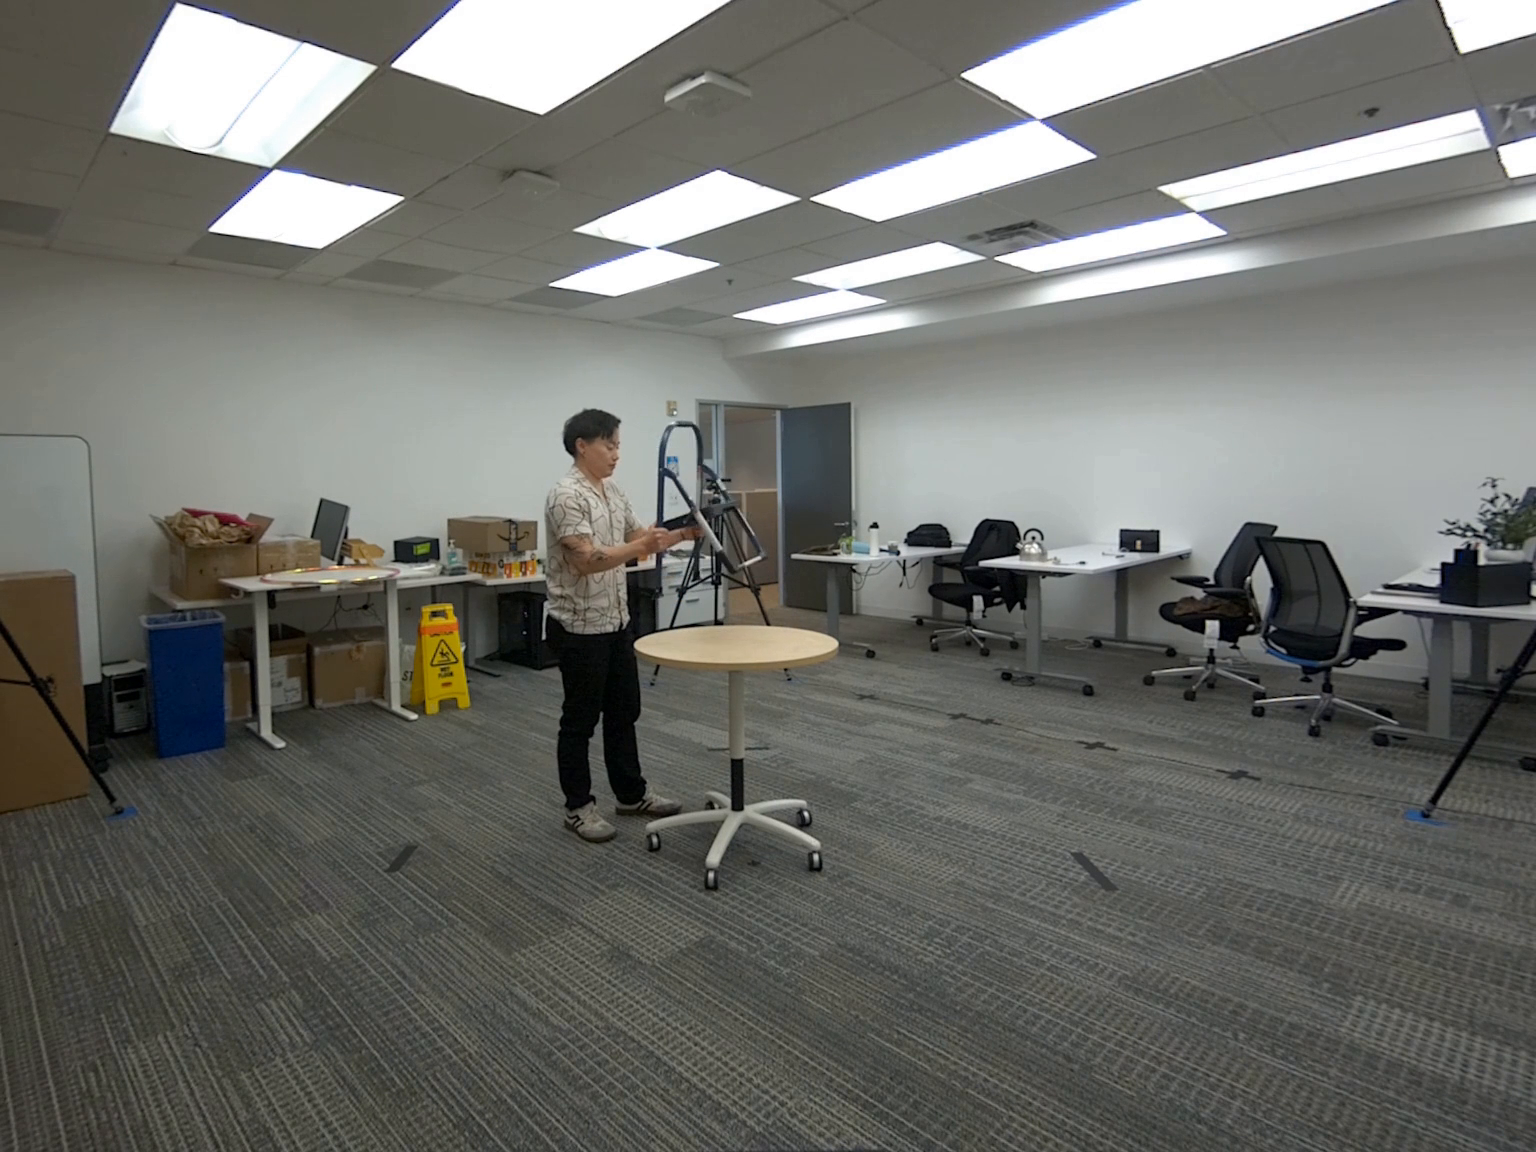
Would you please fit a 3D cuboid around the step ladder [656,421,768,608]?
[{"bbox_3d":[-0.304,-0.282,3.284,0.353,0.605,0.426,-16,2,18],"label":"step ladder"}]
